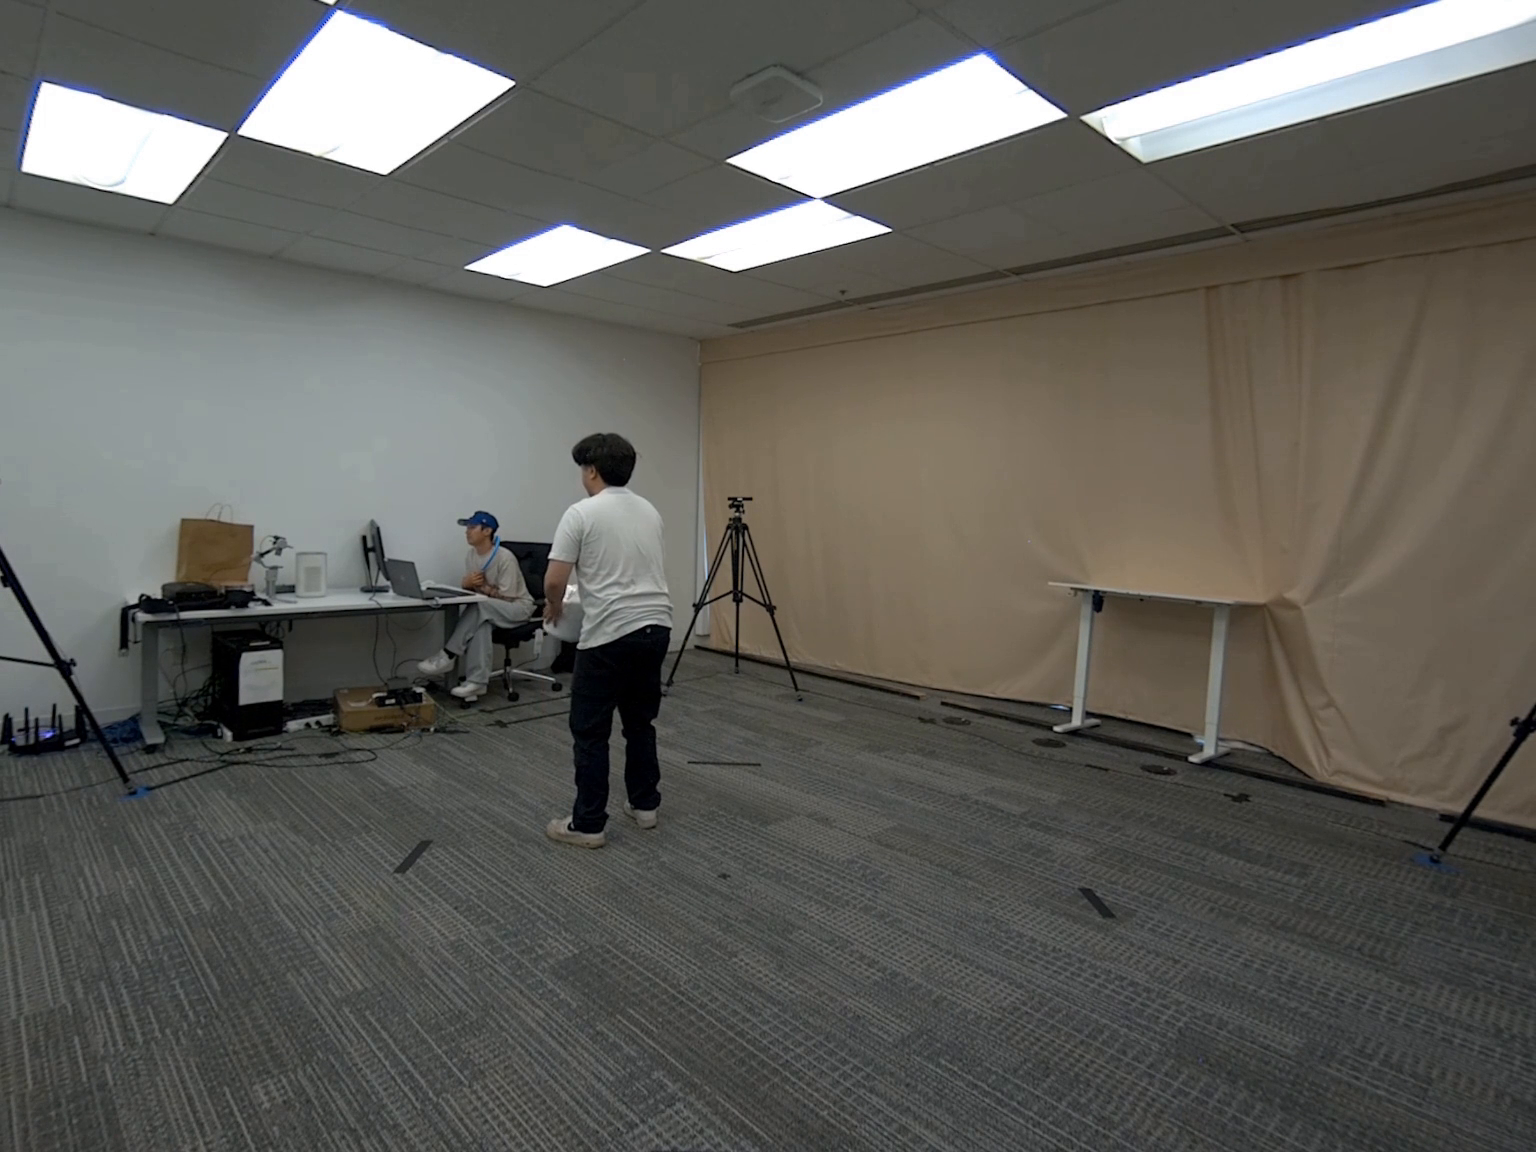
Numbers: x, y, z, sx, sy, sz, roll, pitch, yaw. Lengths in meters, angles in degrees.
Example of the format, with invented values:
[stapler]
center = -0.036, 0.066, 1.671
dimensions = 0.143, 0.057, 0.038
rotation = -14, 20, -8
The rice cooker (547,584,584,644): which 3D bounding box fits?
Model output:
[rice cooker]
center = -0.870, 0.156, 3.710
dimensions = 0.219, 0.231, 0.220
rotation = 15, 12, 7
